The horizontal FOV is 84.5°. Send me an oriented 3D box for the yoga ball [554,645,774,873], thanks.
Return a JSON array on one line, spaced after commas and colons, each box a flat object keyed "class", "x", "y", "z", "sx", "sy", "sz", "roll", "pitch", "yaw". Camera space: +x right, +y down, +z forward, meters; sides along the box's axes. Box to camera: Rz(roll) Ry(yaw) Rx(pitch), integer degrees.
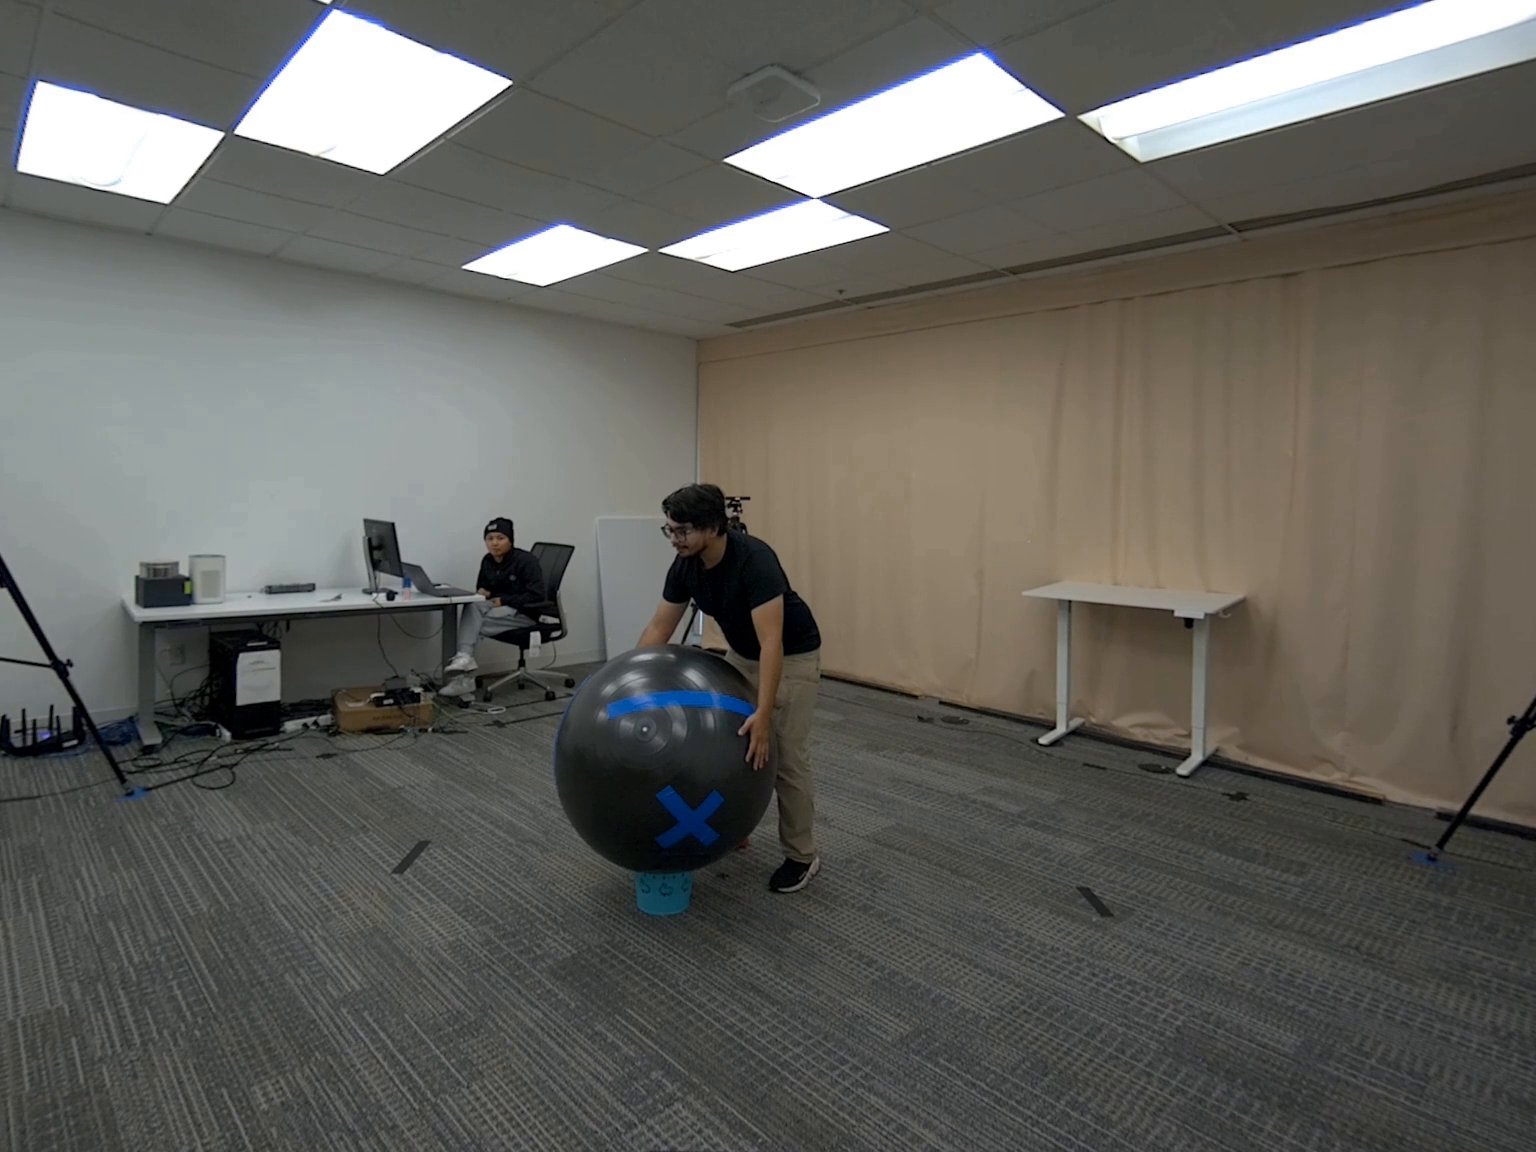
[{"class": "yoga ball", "x": -0.350, "y": 0.620, "z": 2.866, "sx": 0.757, "sy": 0.756, "sz": 0.761, "roll": 1, "pitch": 4, "yaw": -1}]
